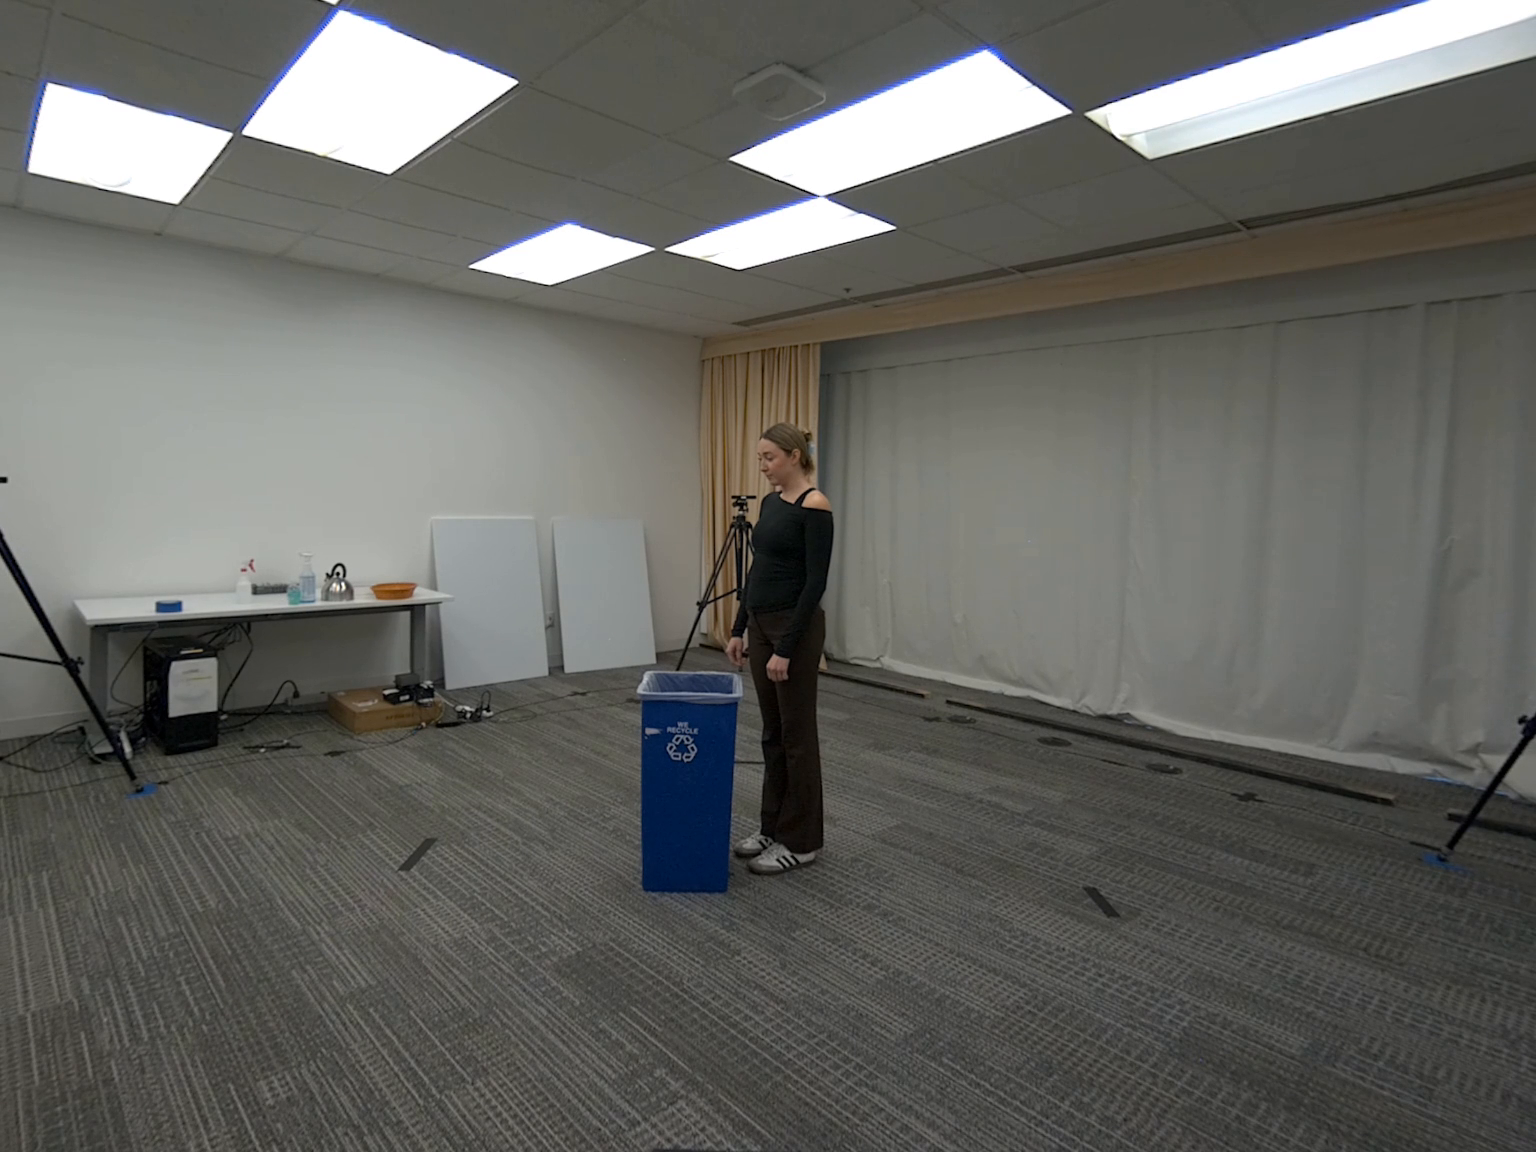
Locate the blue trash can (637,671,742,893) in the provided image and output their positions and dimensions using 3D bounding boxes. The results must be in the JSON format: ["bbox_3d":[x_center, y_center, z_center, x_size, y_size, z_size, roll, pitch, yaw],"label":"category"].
[{"bbox_3d":[-0.290,0.741,3.083,0.374,0.711,0.379,1,4,-1],"label":"blue trash can"}]
